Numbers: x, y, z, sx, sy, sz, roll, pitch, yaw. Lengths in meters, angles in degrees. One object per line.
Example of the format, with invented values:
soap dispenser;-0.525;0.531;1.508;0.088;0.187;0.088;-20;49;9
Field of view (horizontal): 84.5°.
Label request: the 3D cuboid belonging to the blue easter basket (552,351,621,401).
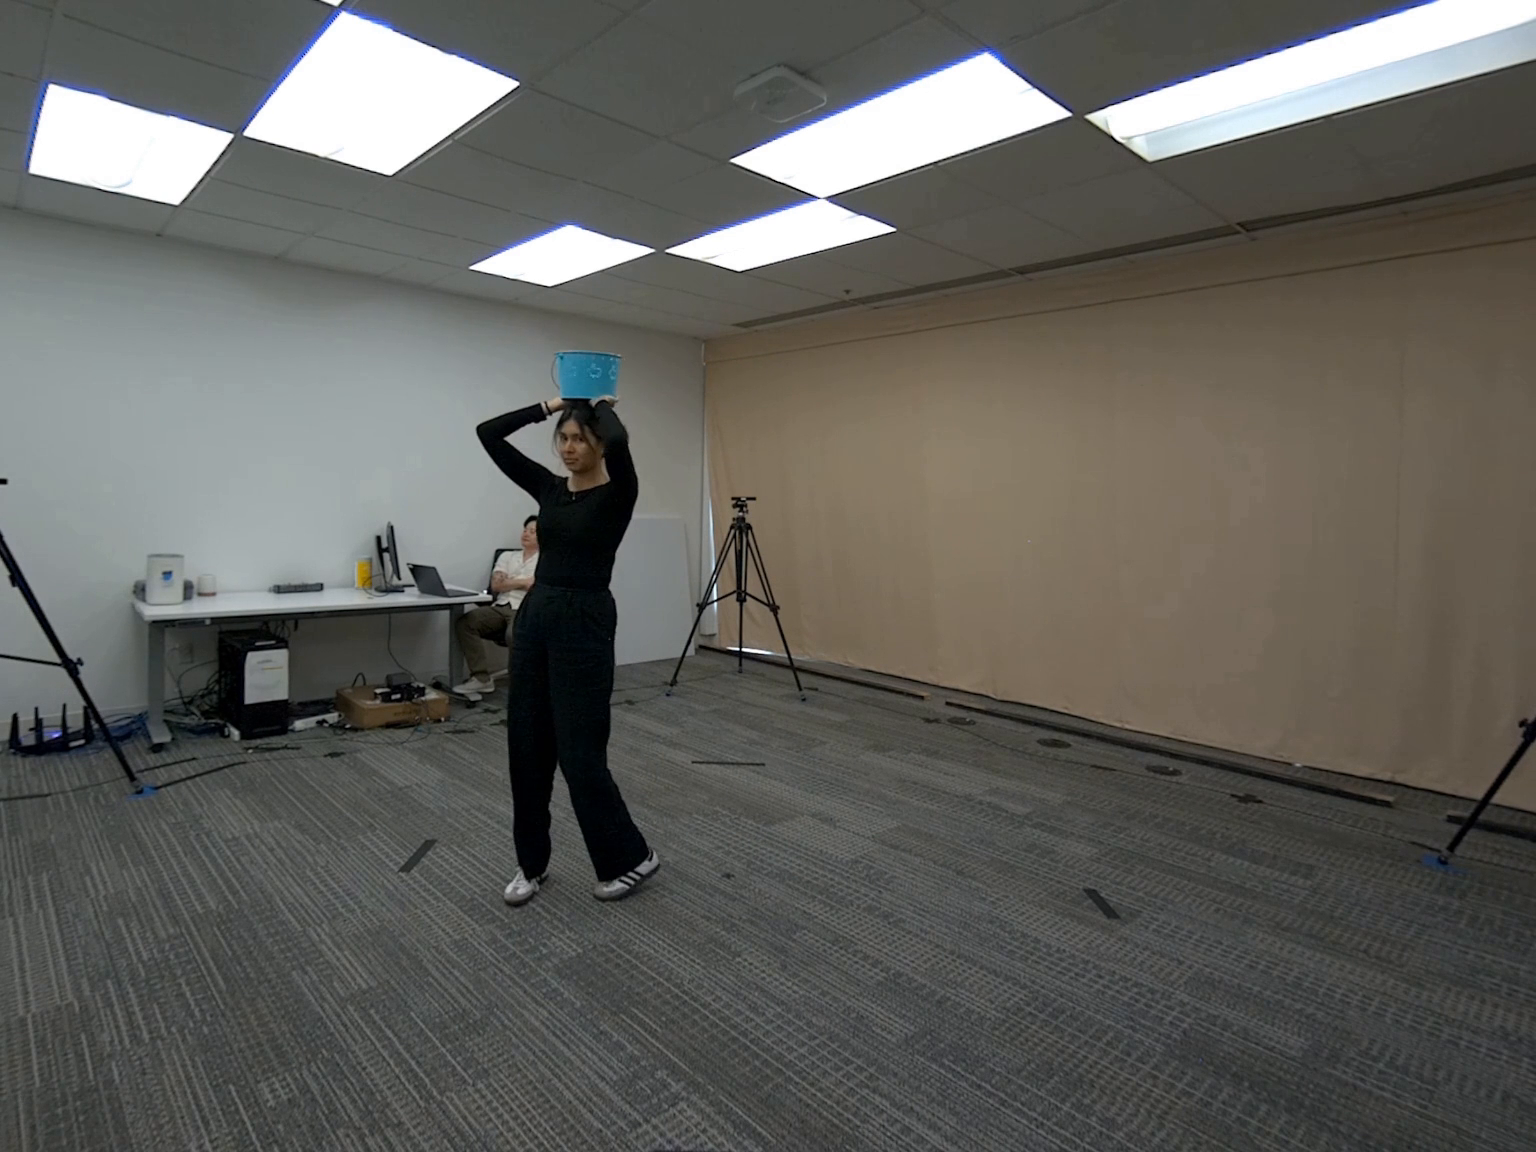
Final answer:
blue easter basket;-0.631;-0.685;2.906;0.243;0.155;0.245;3;8;-2
